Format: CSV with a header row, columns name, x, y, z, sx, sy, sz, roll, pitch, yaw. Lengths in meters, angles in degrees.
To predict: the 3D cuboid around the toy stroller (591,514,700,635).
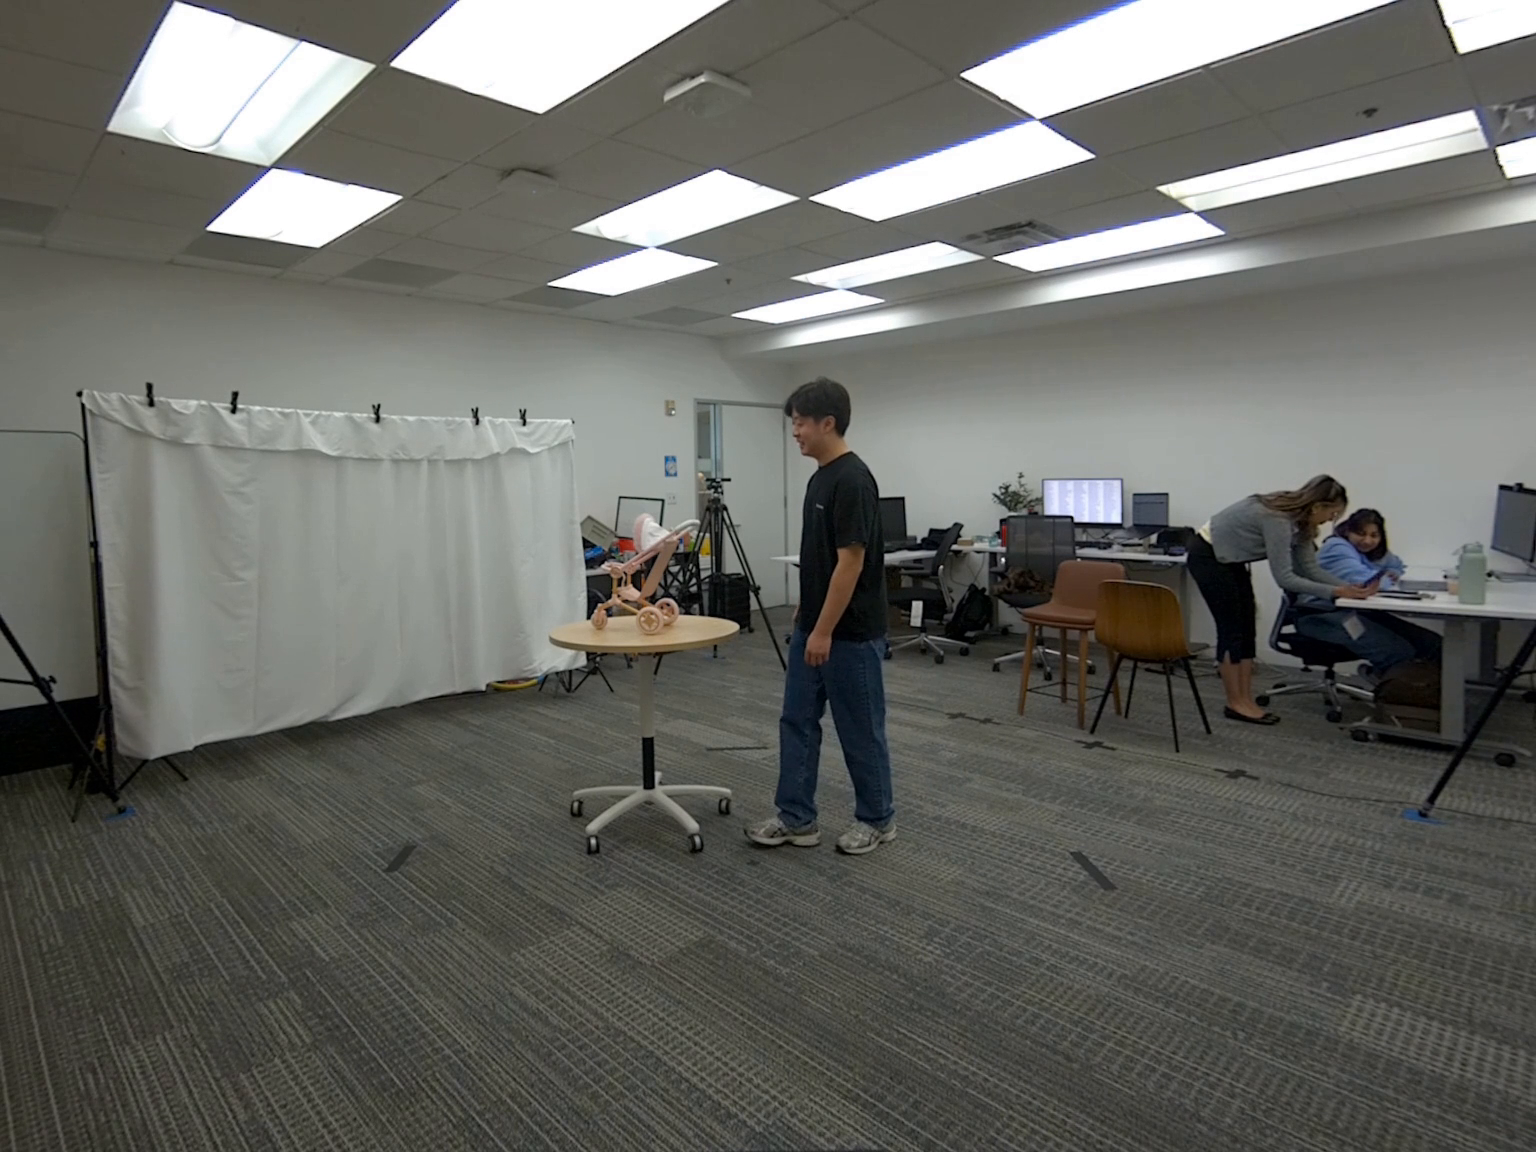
name,x,y,z,sx,sy,sz,roll,pitch,yaw
toy stroller,-0.505,-0.008,3.436,0.347,0.532,0.278,15,7,13
